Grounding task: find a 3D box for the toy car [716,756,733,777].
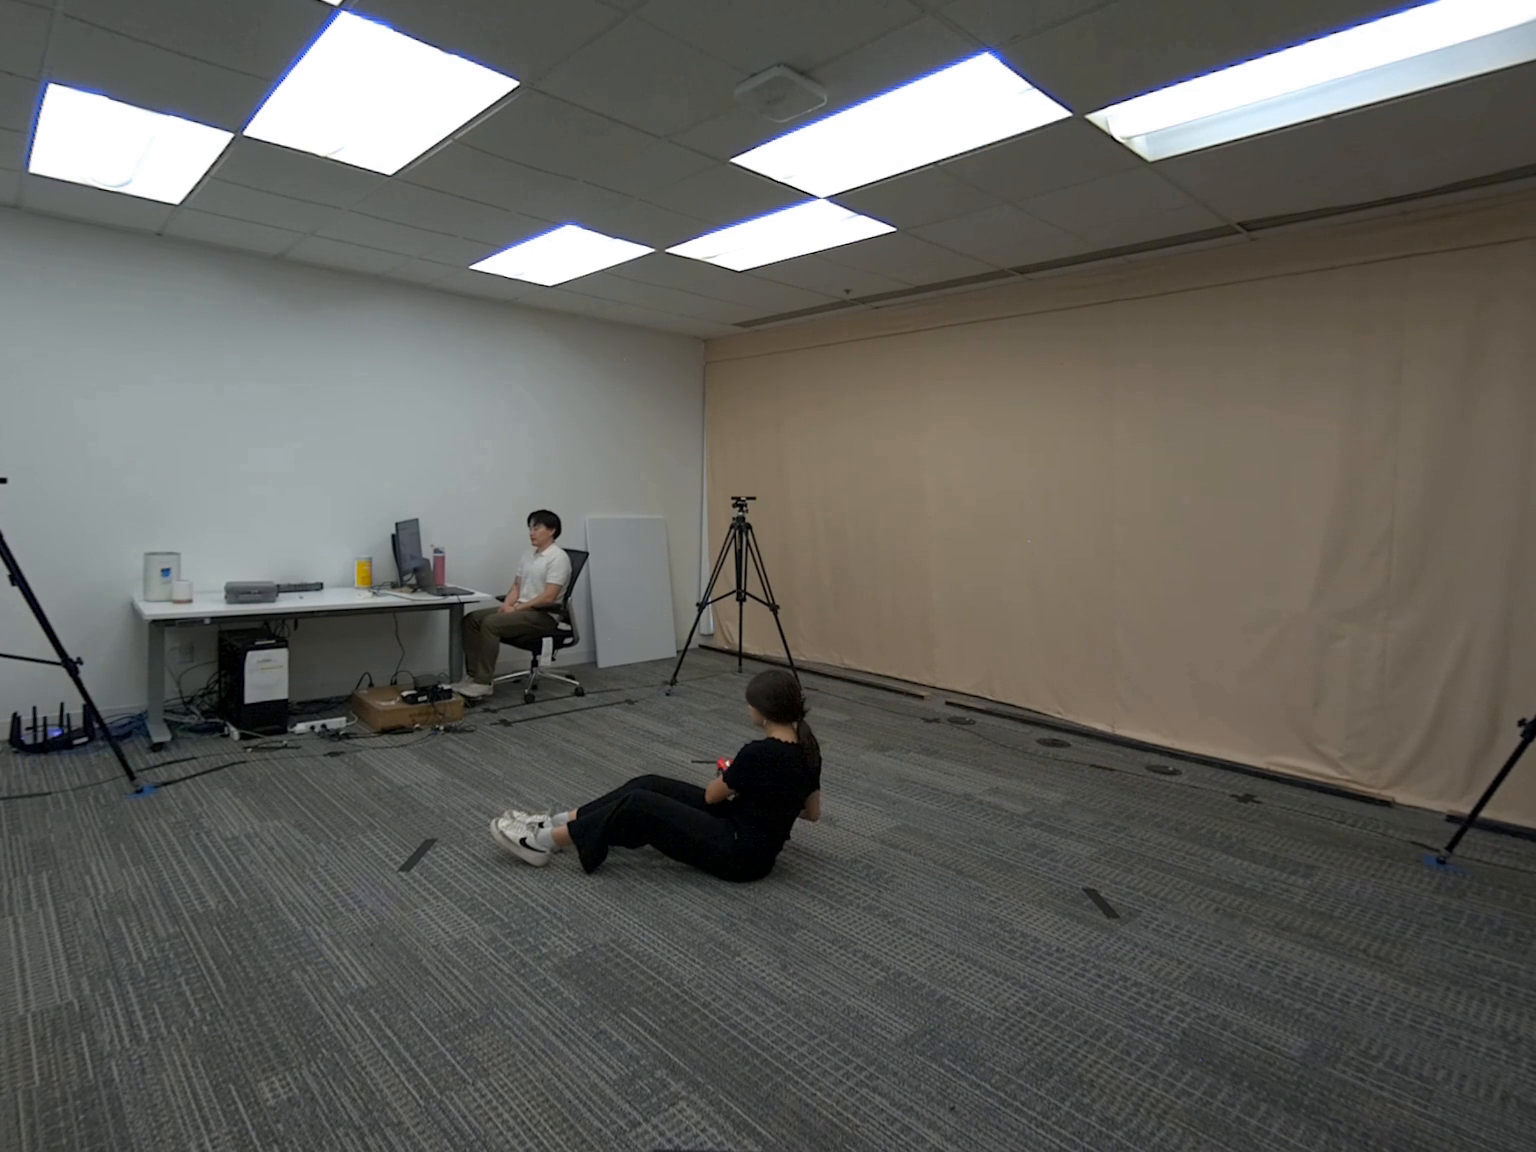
[{"bbox_3d":[-0.136,0.855,3.527,0.127,0.083,0.262,17,24,-35],"label":"toy car"}]
